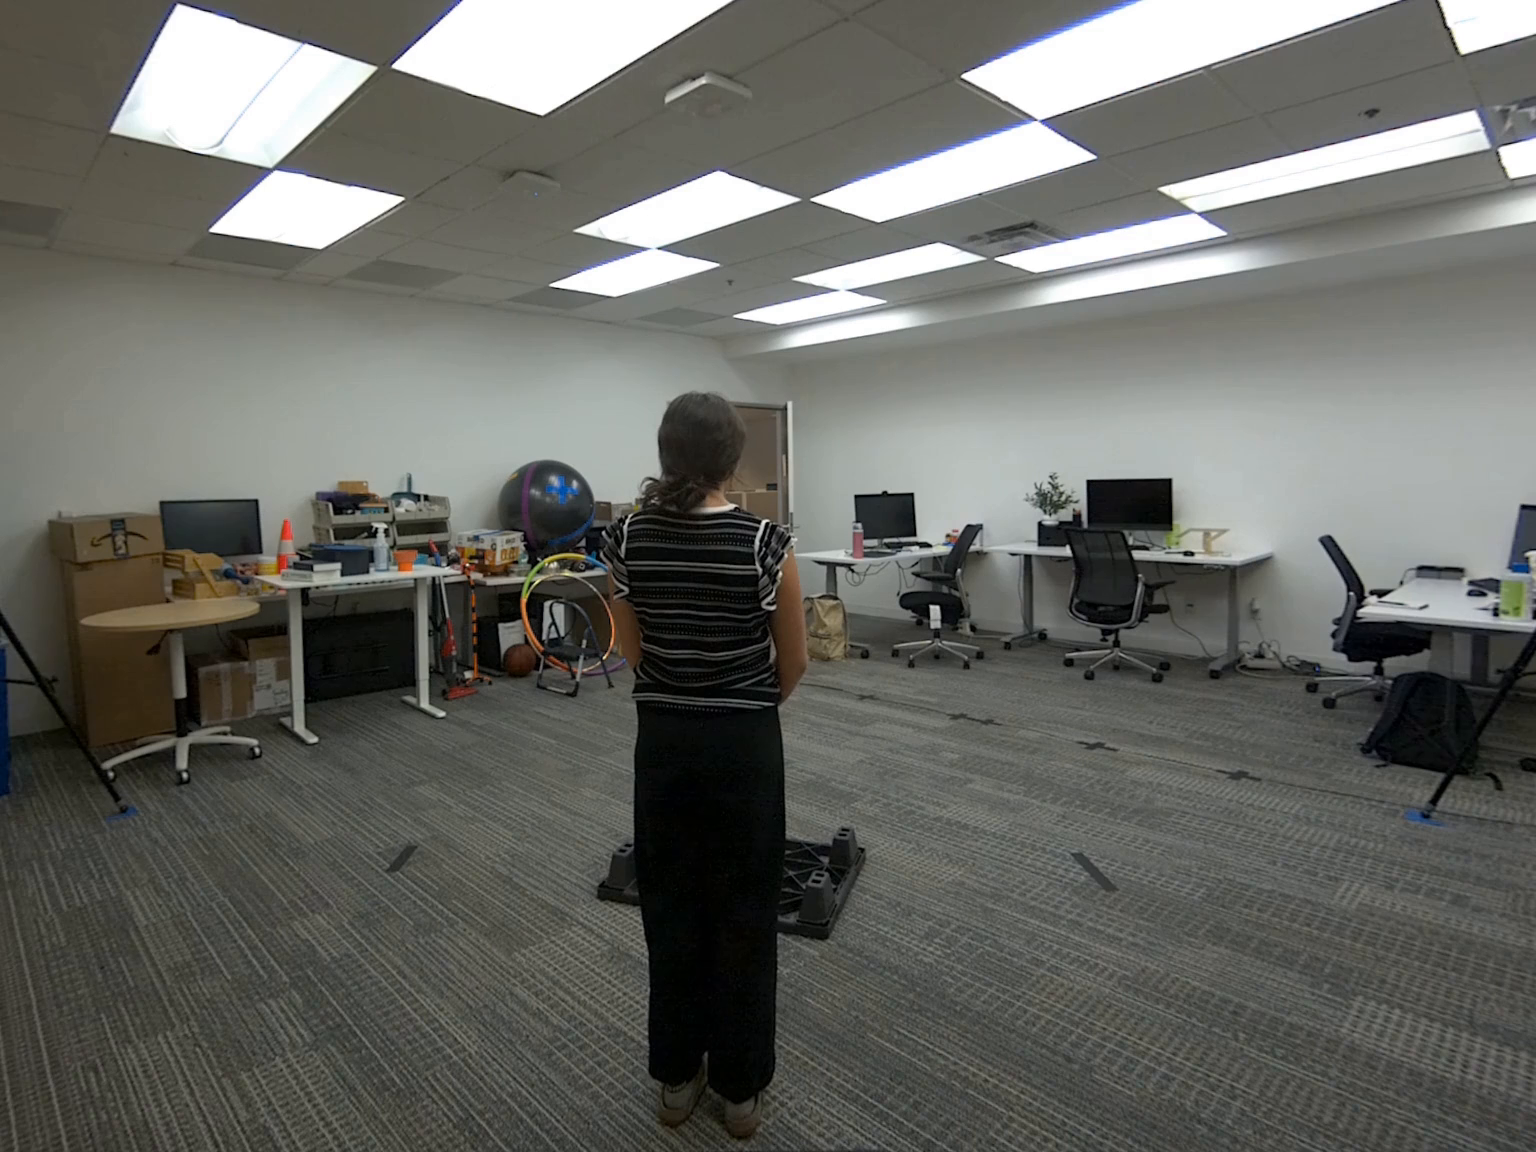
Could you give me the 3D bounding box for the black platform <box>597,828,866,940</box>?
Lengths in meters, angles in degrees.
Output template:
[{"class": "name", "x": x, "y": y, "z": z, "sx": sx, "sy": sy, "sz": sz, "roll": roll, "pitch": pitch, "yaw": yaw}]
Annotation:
[{"class": "black platform", "x": -0.108, "y": 0.993, "z": 2.990, "sx": 0.821, "sy": 0.143, "sz": 0.596, "roll": 1, "pitch": 6, "yaw": 19}]
